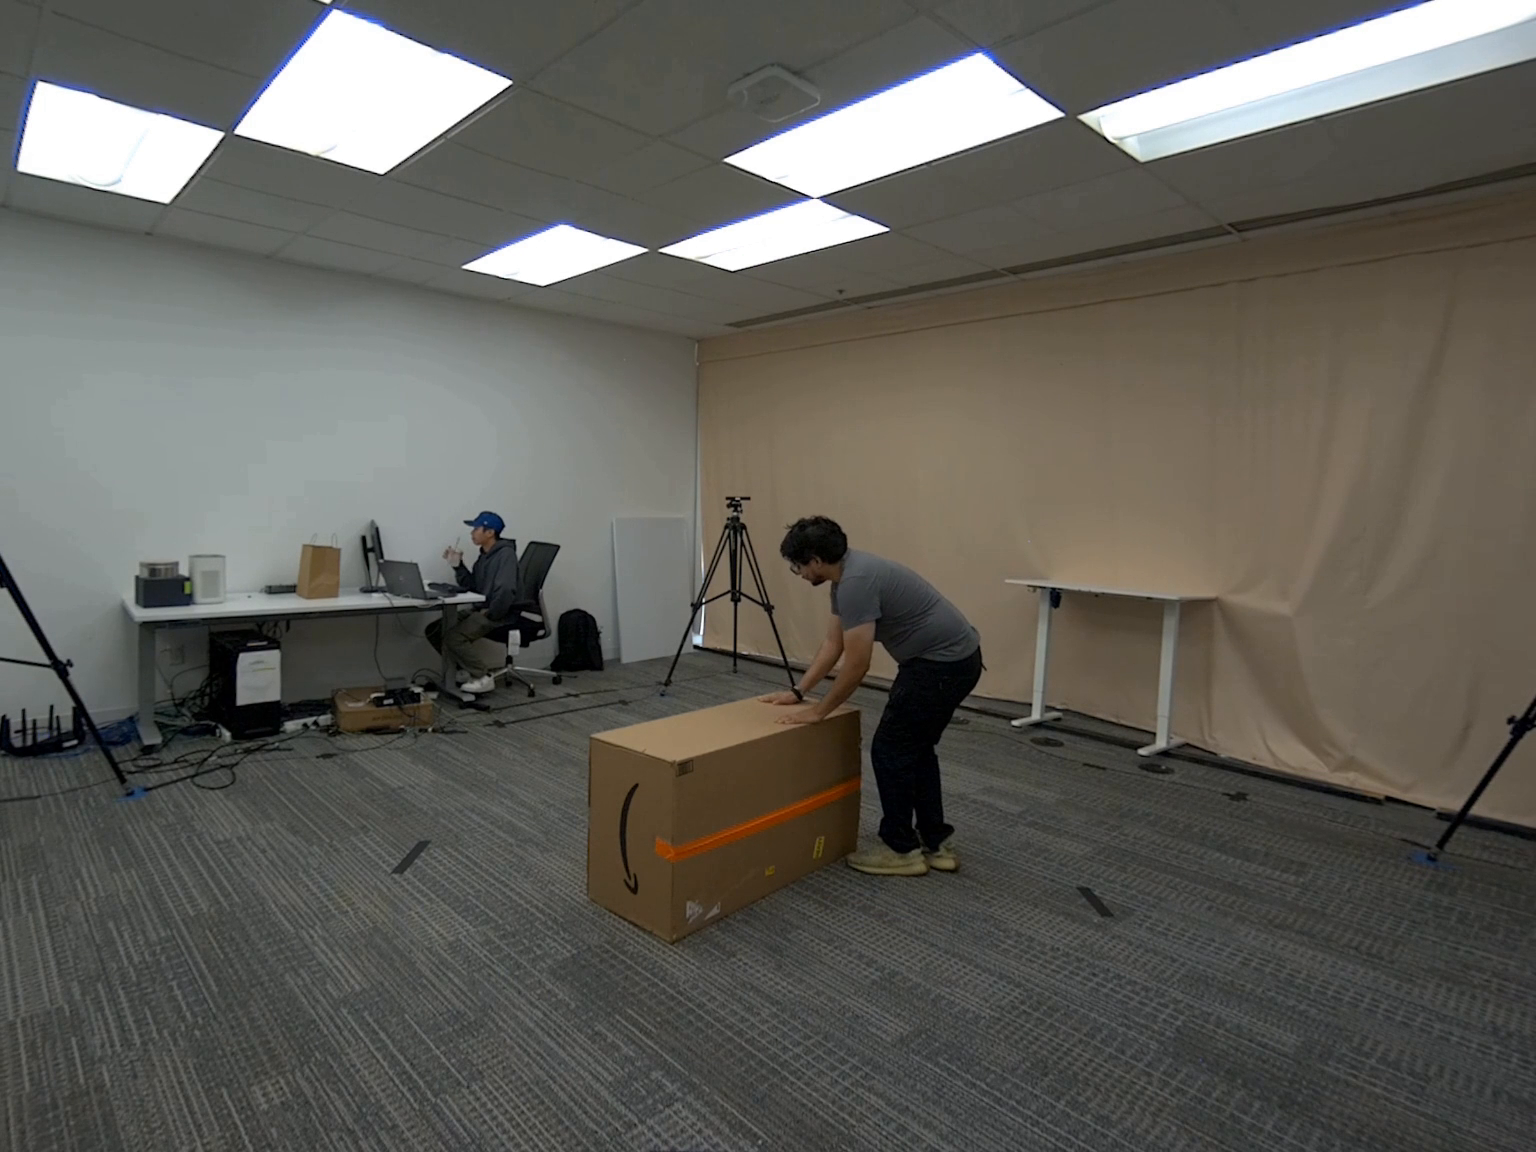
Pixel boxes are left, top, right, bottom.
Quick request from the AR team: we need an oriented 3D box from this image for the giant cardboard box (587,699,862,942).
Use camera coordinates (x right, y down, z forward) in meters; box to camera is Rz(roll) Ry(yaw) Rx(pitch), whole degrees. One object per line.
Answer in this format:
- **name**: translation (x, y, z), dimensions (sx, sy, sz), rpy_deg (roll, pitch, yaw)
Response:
- **giant cardboard box**: translation (-0.130, 0.819, 3.106), dimensions (0.437, 0.576, 1.003), rpy_deg (5, 6, 41)
